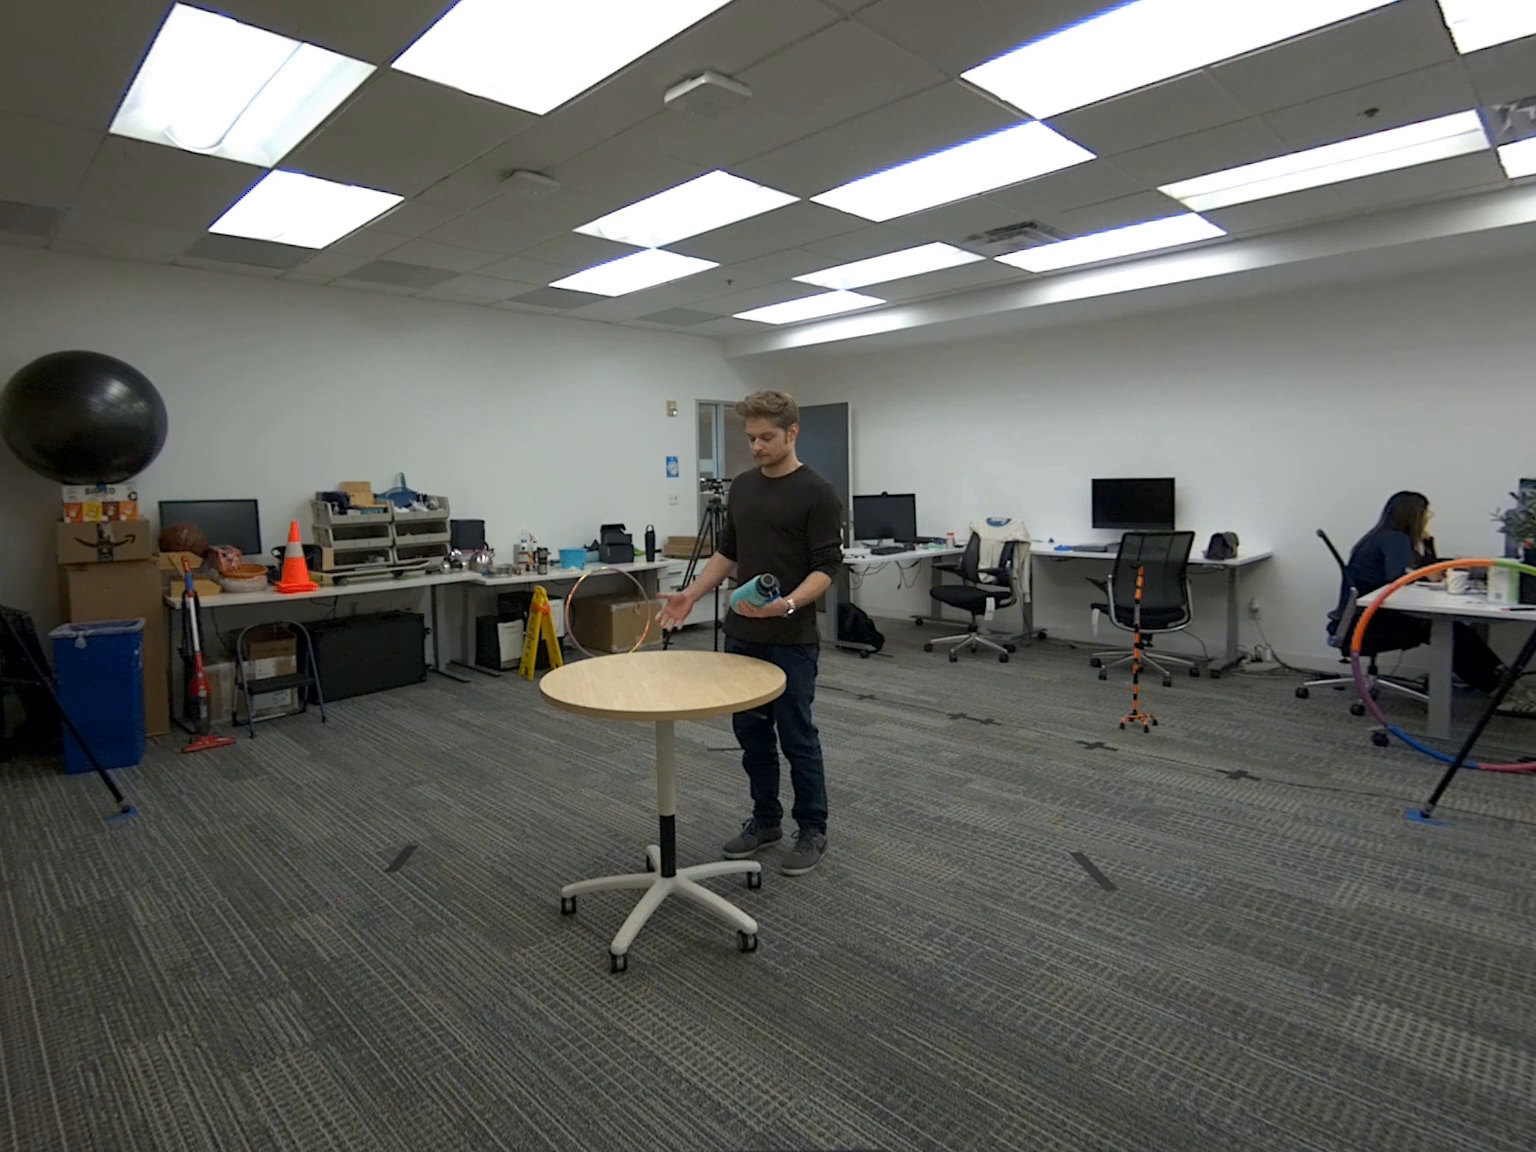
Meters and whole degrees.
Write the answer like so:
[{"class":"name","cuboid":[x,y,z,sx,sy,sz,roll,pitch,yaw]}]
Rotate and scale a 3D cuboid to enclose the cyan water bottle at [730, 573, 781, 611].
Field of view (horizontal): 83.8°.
[{"class":"cyan water bottle","cuboid":[-0.039,0.053,2.774,0.091,0.093,0.284,-2,-12,-18]}]
